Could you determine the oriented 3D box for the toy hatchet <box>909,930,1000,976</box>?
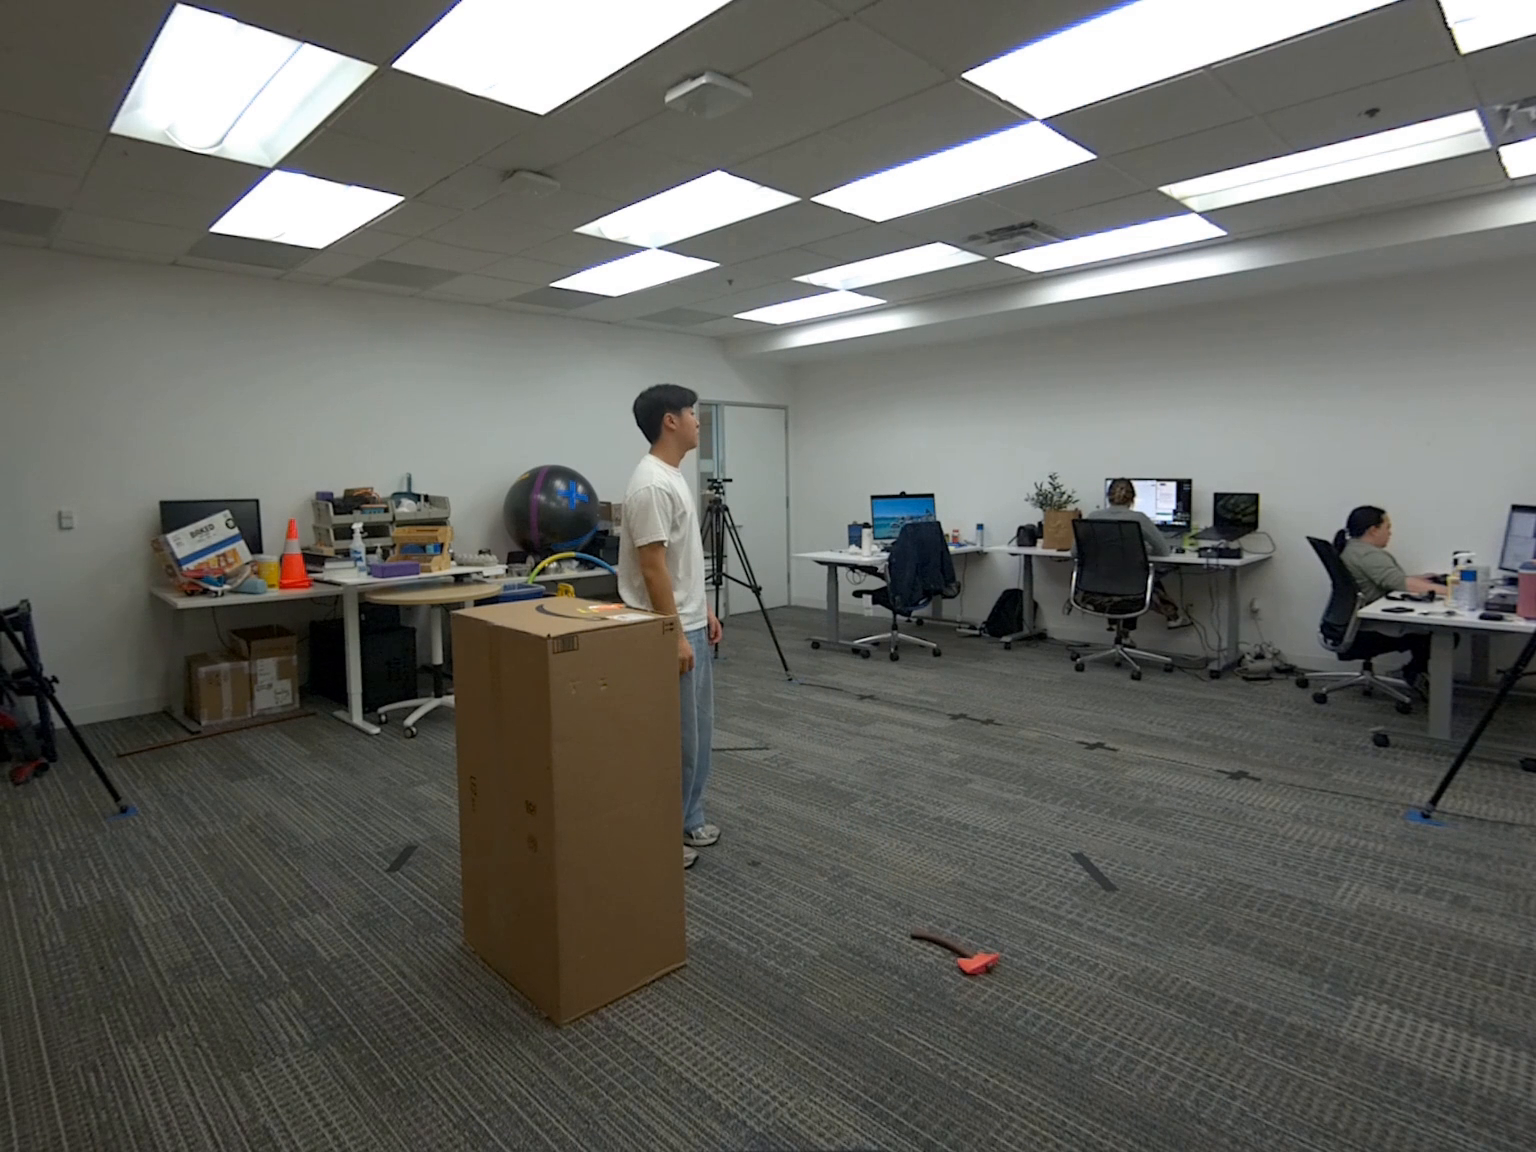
[{"bbox_3d":[0.524,1.085,2.487,0.278,0.029,0.128,1,8,37],"label":"toy hatchet"}]
